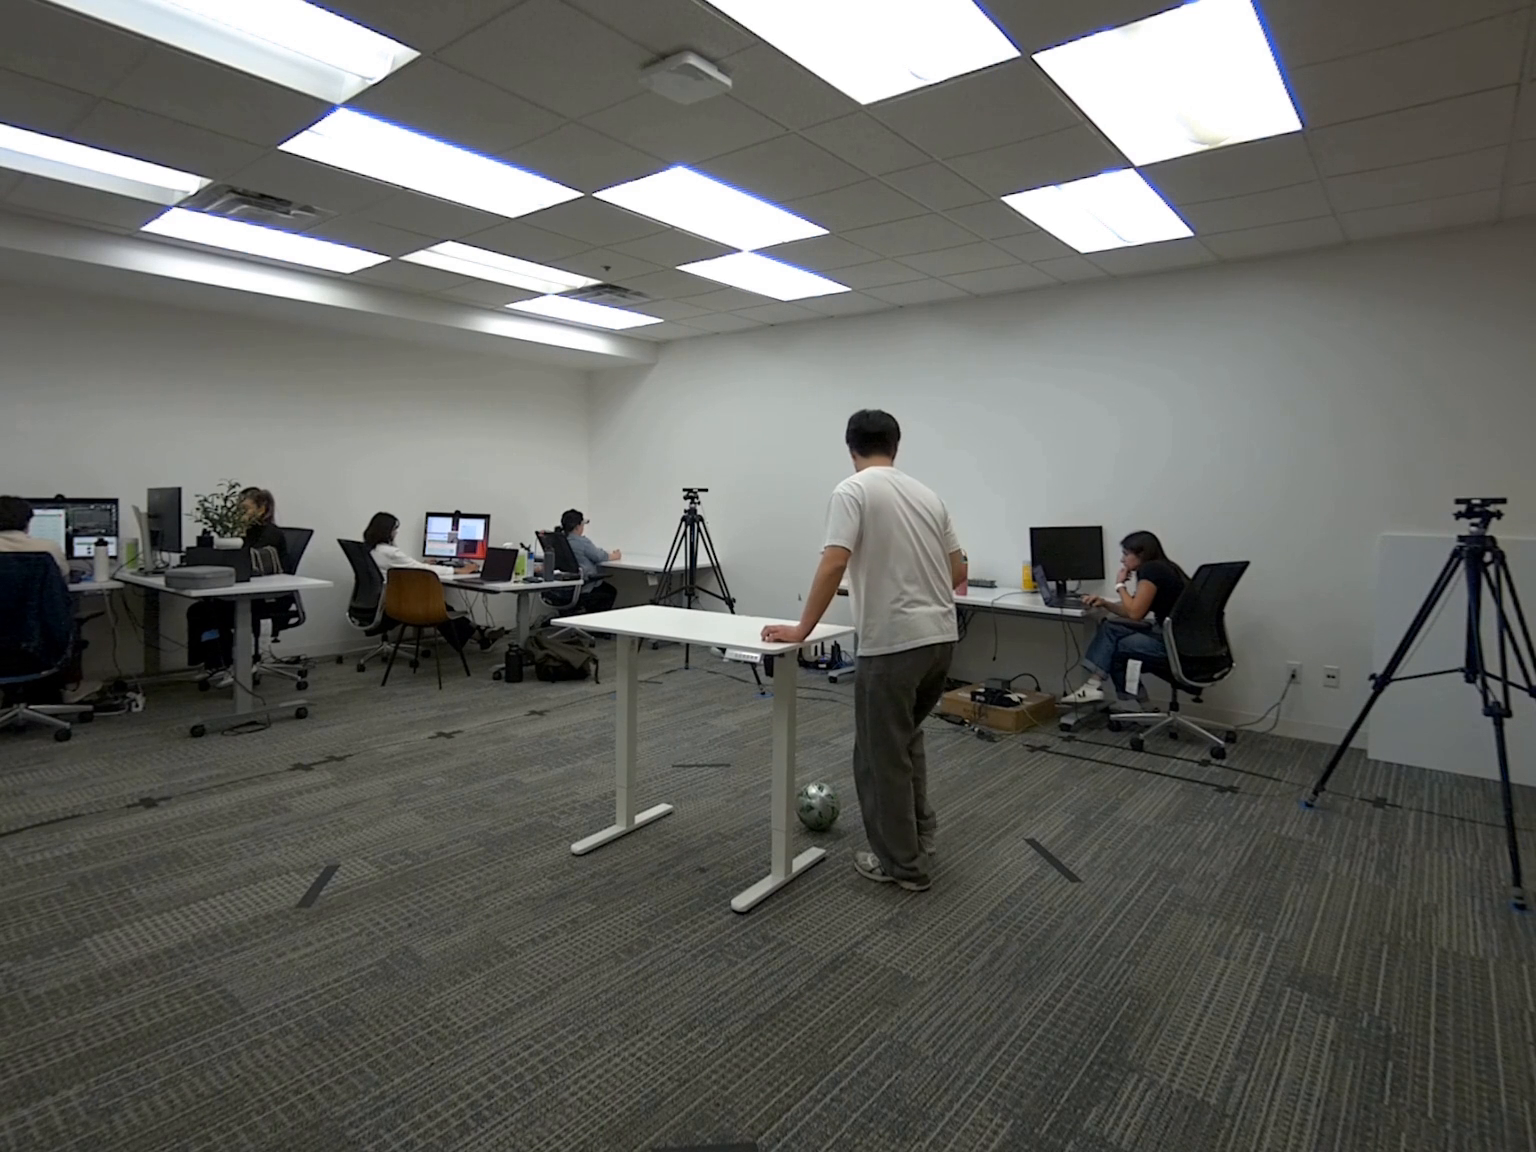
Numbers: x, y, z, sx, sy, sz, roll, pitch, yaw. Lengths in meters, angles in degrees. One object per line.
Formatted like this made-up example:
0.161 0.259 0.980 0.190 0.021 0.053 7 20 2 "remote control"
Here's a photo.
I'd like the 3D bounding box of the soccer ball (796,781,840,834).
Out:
0.213 0.937 3.513 0.187 0.187 0.188 1 4 -2 "soccer ball"
